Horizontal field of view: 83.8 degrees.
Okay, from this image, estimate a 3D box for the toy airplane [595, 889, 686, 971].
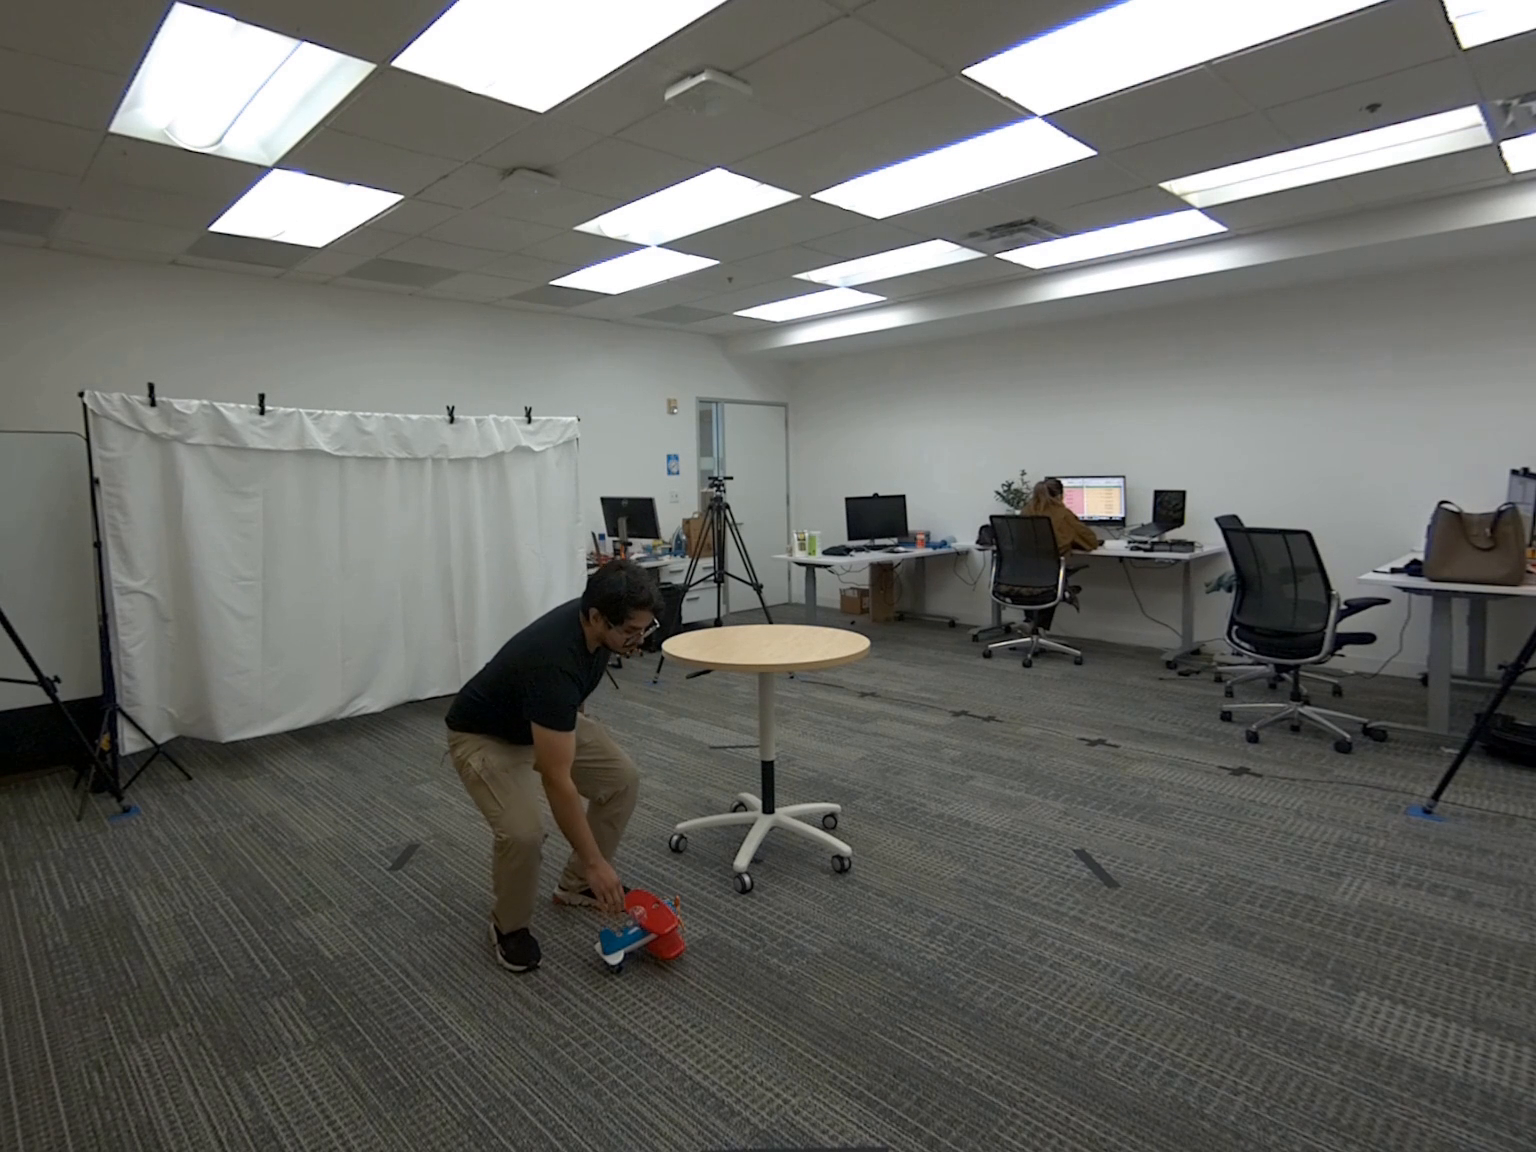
[{"bbox_3d":[-0.350,1.045,2.473,0.257,0.156,0.254,2,5,27],"label":"toy airplane"}]
